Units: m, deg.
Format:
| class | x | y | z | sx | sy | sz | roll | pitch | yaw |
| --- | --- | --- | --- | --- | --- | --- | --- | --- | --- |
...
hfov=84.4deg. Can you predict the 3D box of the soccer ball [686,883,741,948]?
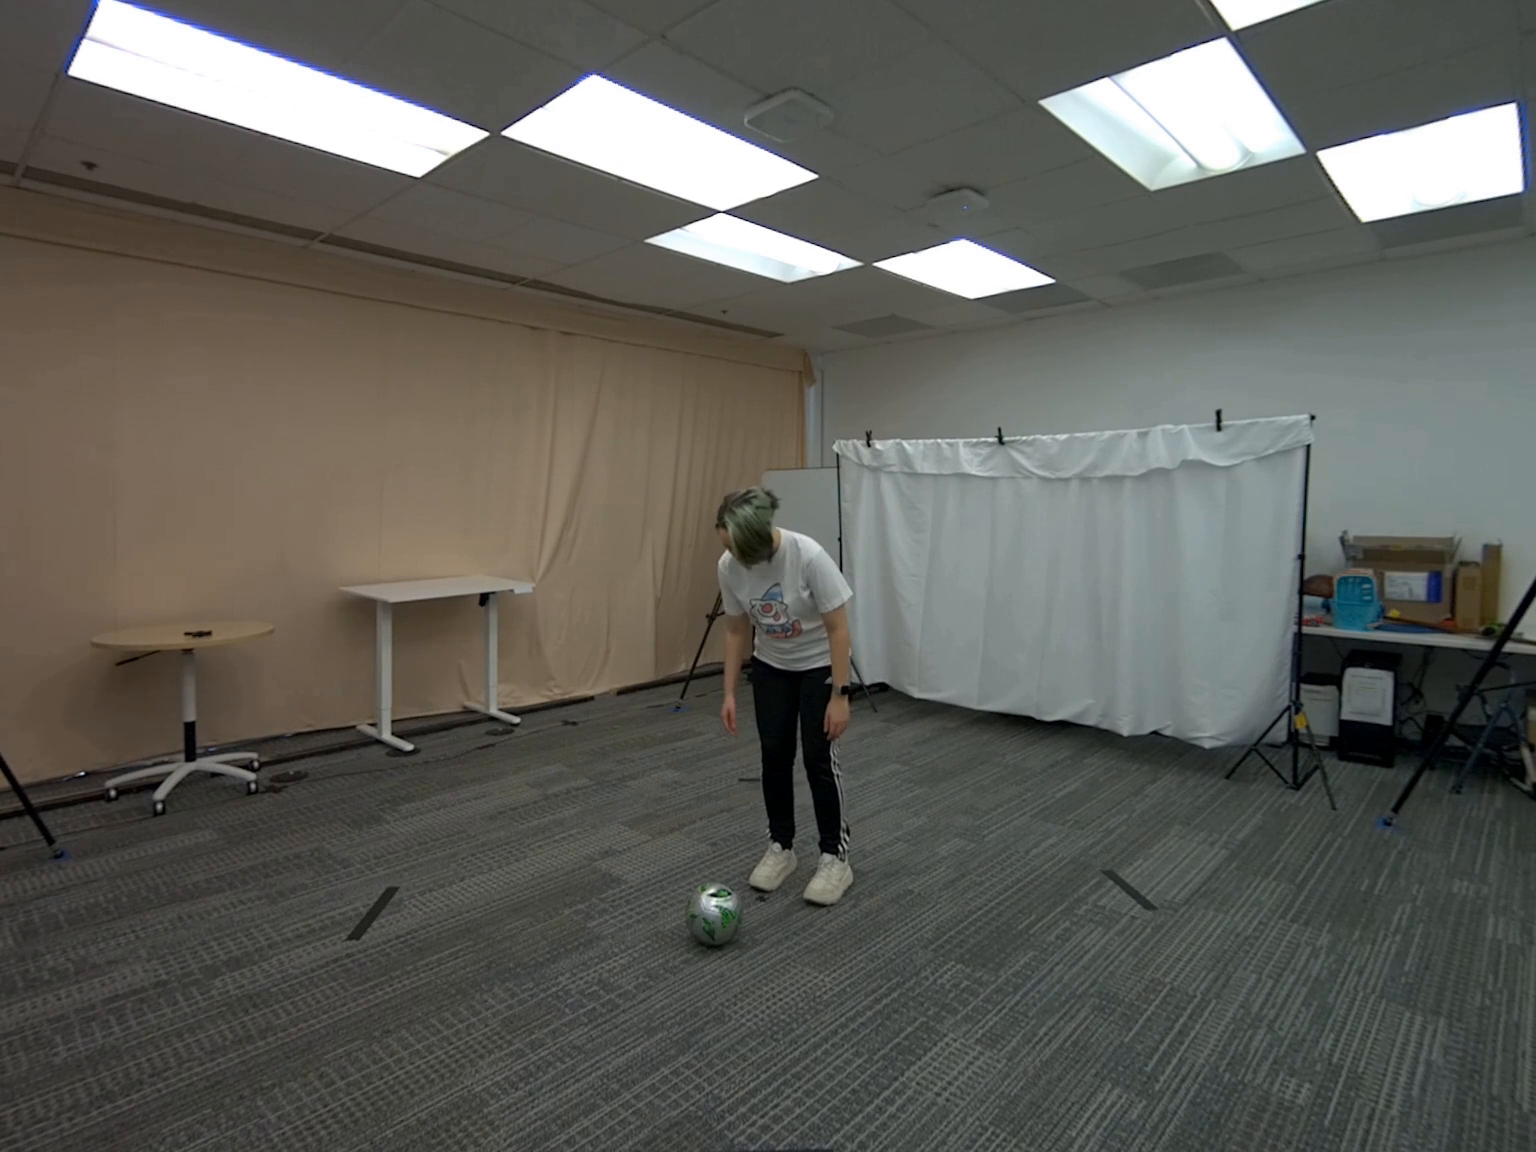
| class | x | y | z | sx | sy | sz | roll | pitch | yaw |
| --- | --- | --- | --- | --- | --- | --- | --- | --- | --- |
| soccer ball | -0.172 | 1.075 | 2.683 | 0.187 | 0.187 | 0.188 | 0 | 4 | -2 |
